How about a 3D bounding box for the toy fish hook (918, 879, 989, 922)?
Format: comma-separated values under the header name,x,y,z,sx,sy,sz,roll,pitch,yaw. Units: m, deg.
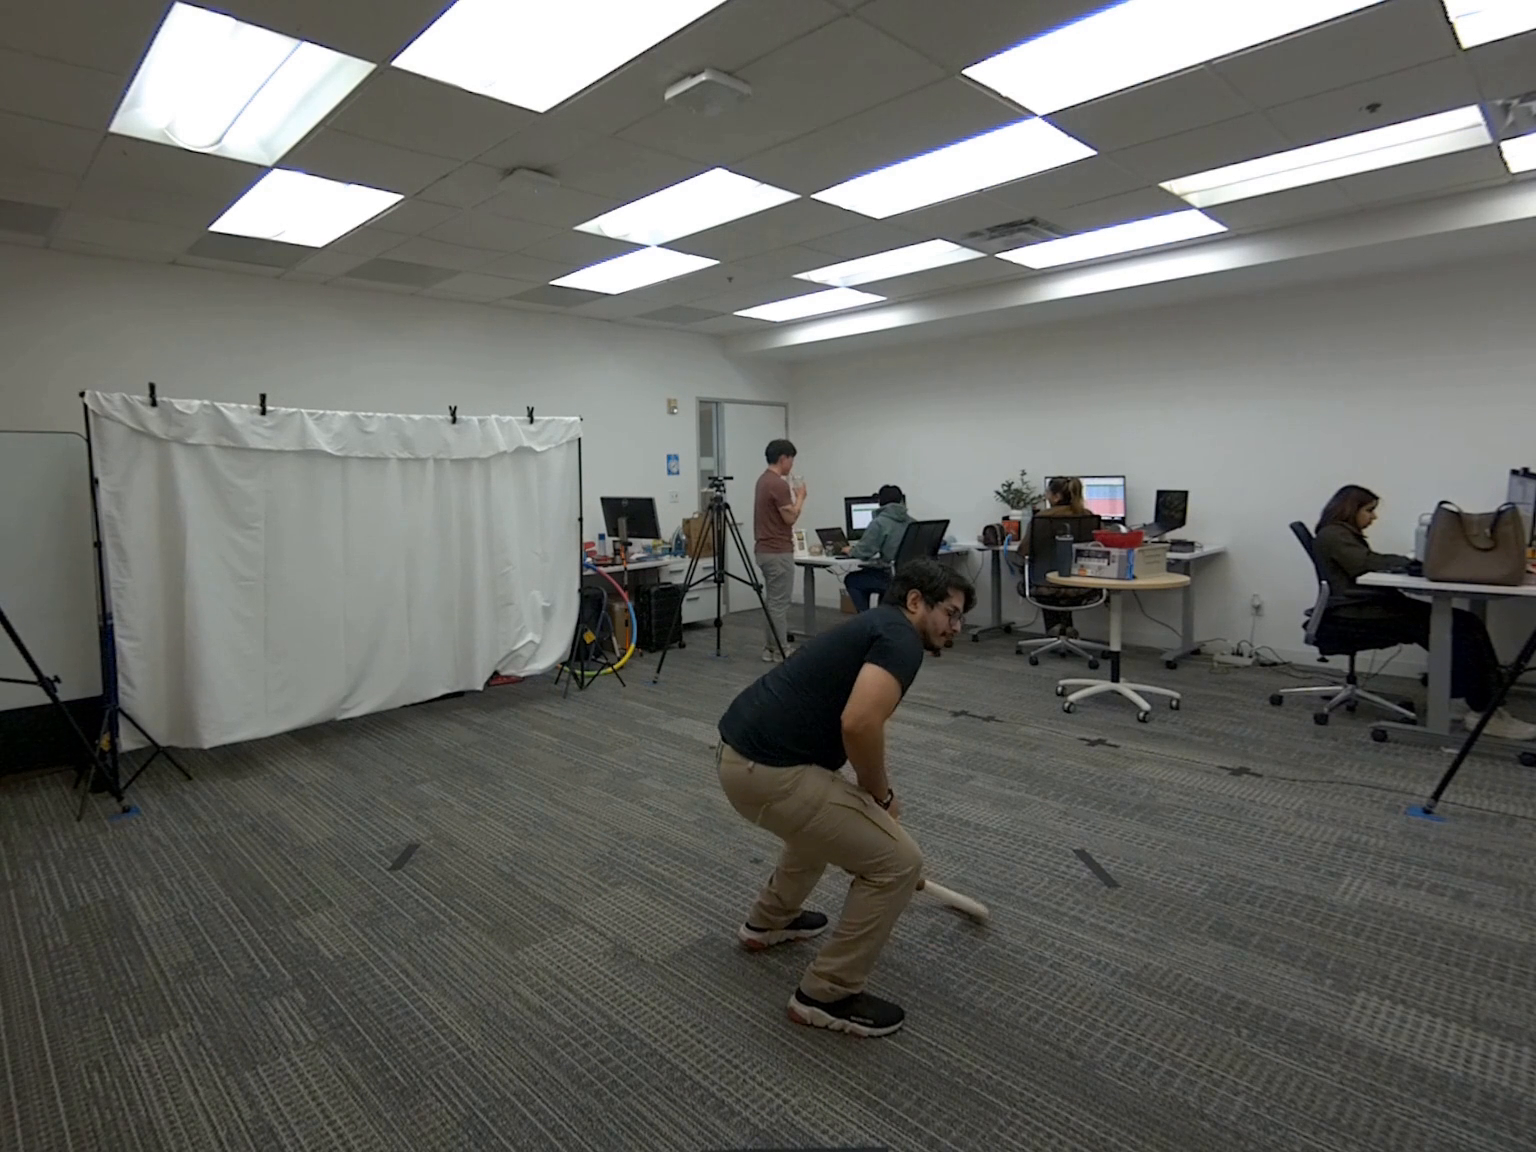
name,x,y,z,sx,sy,sz,roll,pitch,yaw
toy fish hook,0.470,0.944,2.616,0.491,0.049,0.230,33,-20,-26
